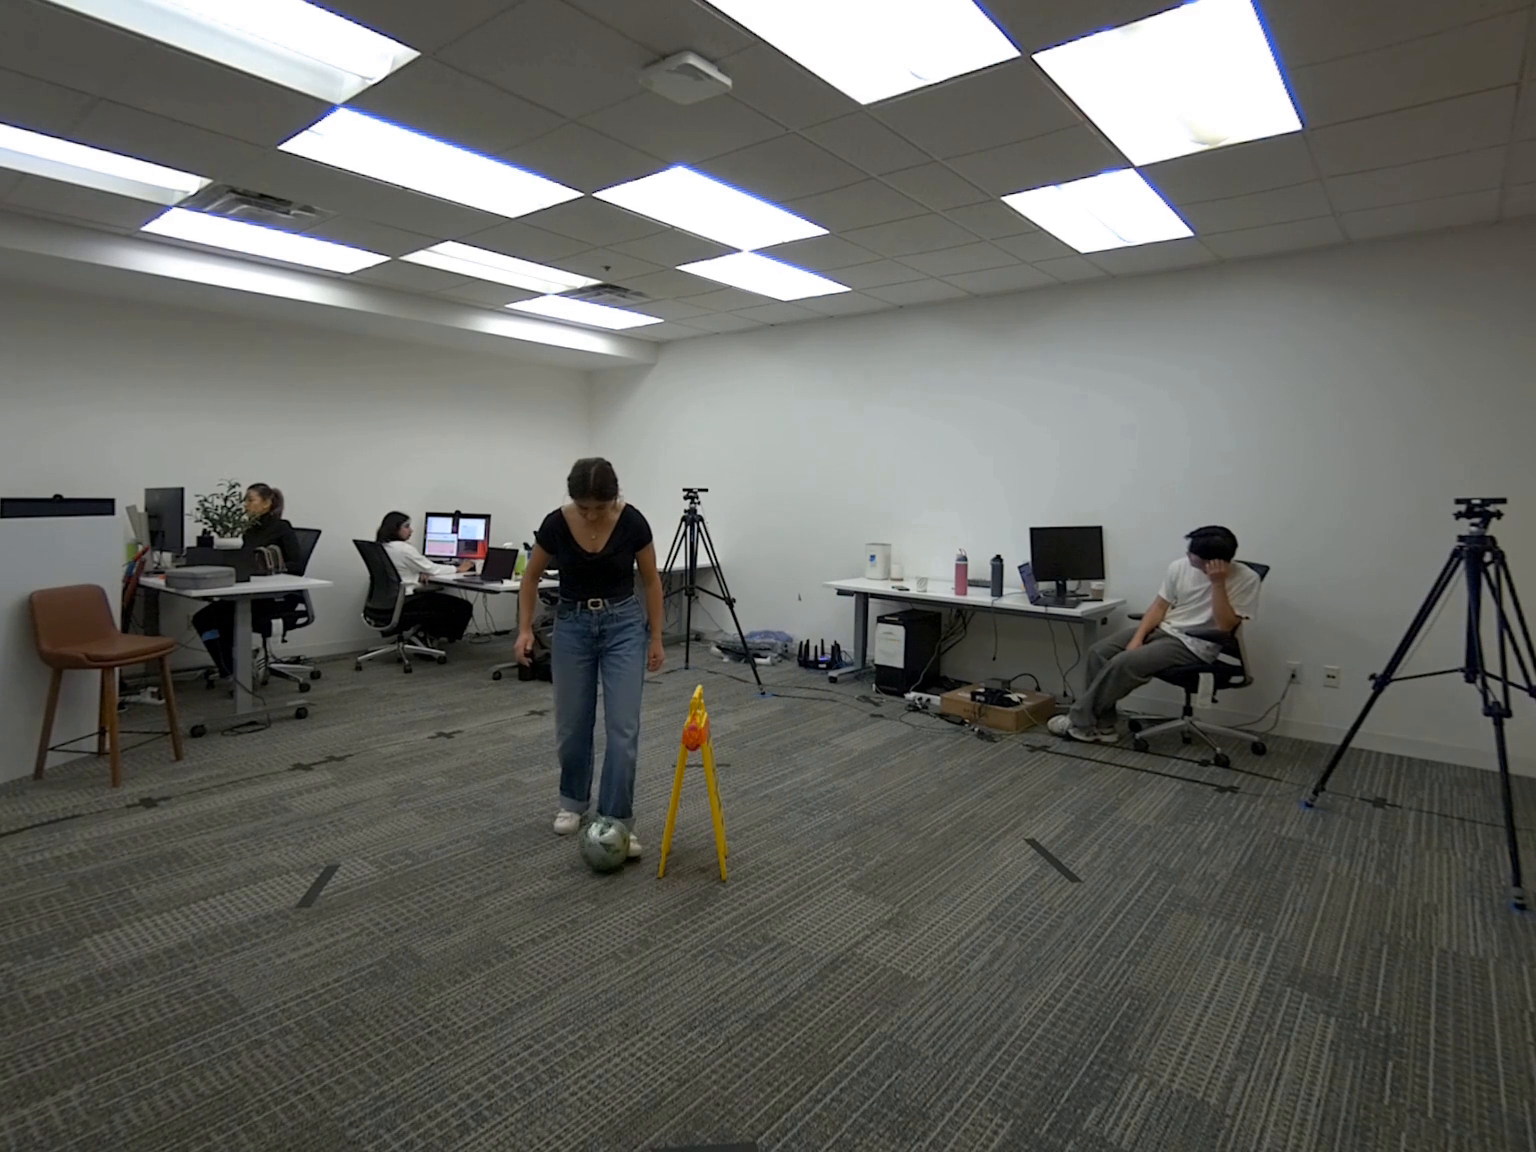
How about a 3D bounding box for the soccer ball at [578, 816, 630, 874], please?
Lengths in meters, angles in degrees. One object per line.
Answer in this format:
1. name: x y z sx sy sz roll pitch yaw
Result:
1. soccer ball: -0.609 0.969 3.105 0.187 0.187 0.188 1 4 -2
